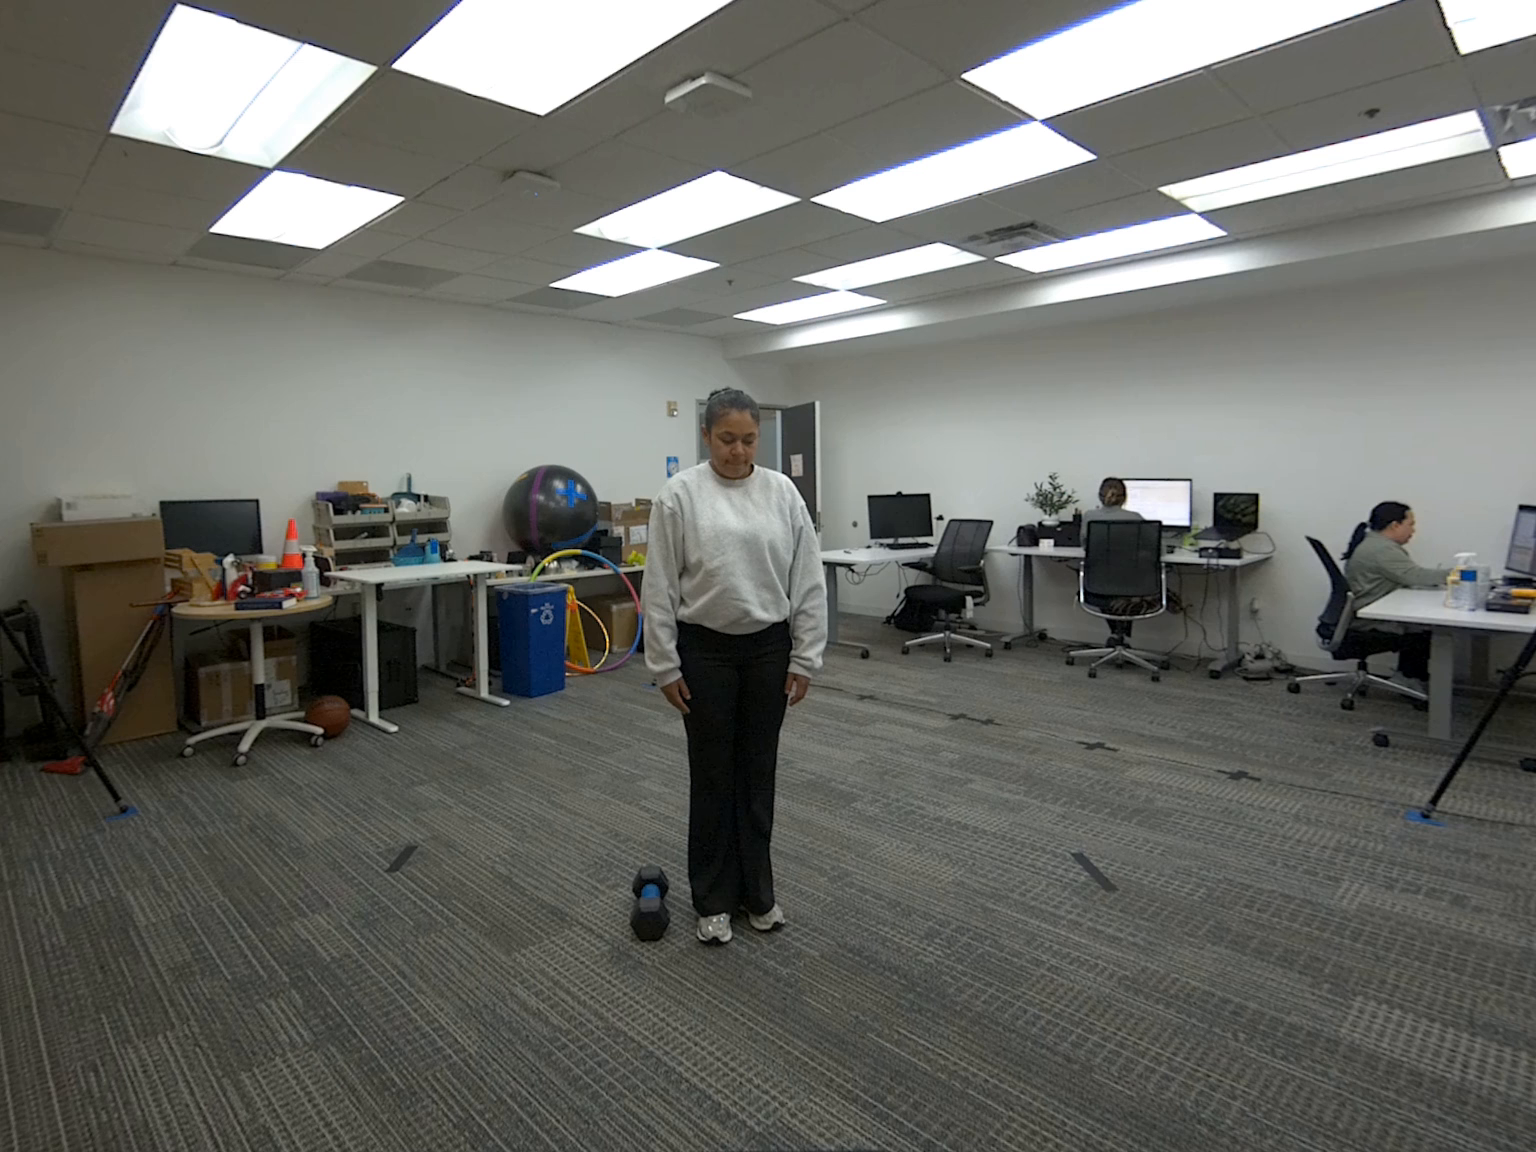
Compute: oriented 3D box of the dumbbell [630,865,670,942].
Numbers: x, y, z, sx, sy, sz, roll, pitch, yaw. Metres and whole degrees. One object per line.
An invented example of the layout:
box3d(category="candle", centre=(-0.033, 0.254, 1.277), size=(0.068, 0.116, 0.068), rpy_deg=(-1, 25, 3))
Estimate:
box3d(category="dumbbell", centre=(-0.368, 1.040, 2.729), size=(0.107, 0.123, 0.297), rpy_deg=(30, 2, -10))
